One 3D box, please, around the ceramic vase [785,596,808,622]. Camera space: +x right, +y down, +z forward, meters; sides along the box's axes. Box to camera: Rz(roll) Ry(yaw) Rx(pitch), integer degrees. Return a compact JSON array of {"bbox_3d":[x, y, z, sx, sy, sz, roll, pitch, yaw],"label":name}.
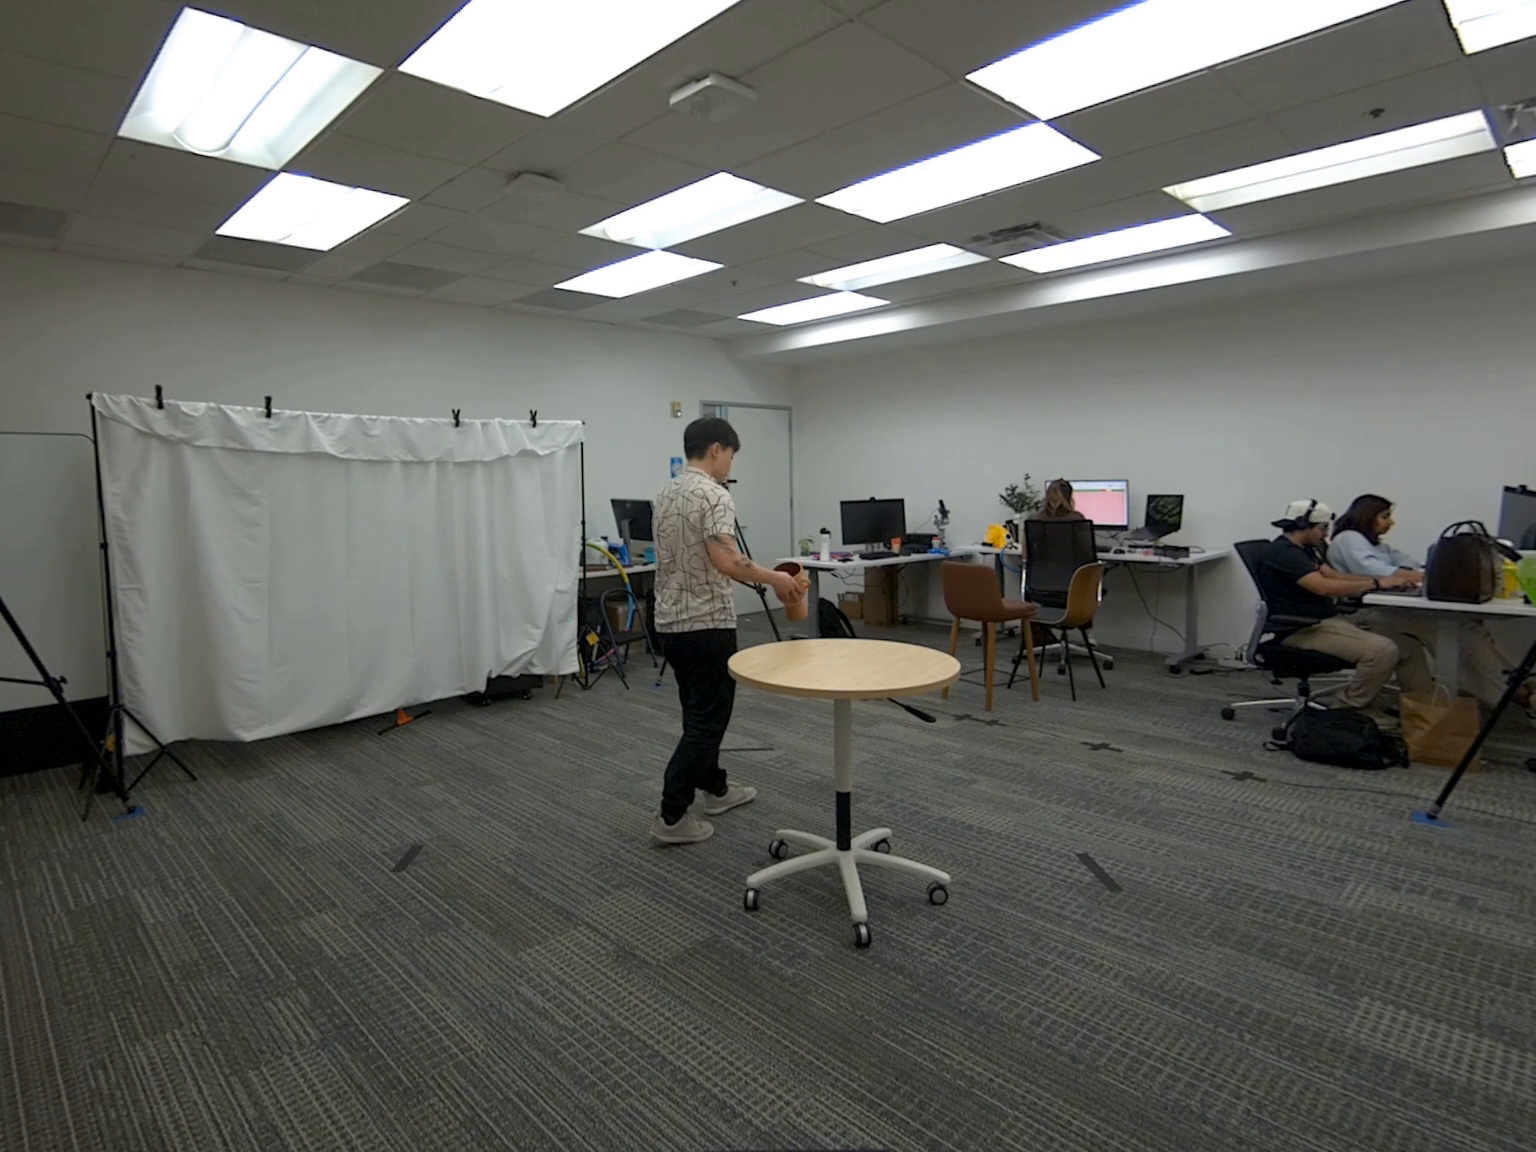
[{"bbox_3d":[0.091,0.067,3.440,0.134,0.213,0.165,-21,33,-12],"label":"ceramic vase"}]
